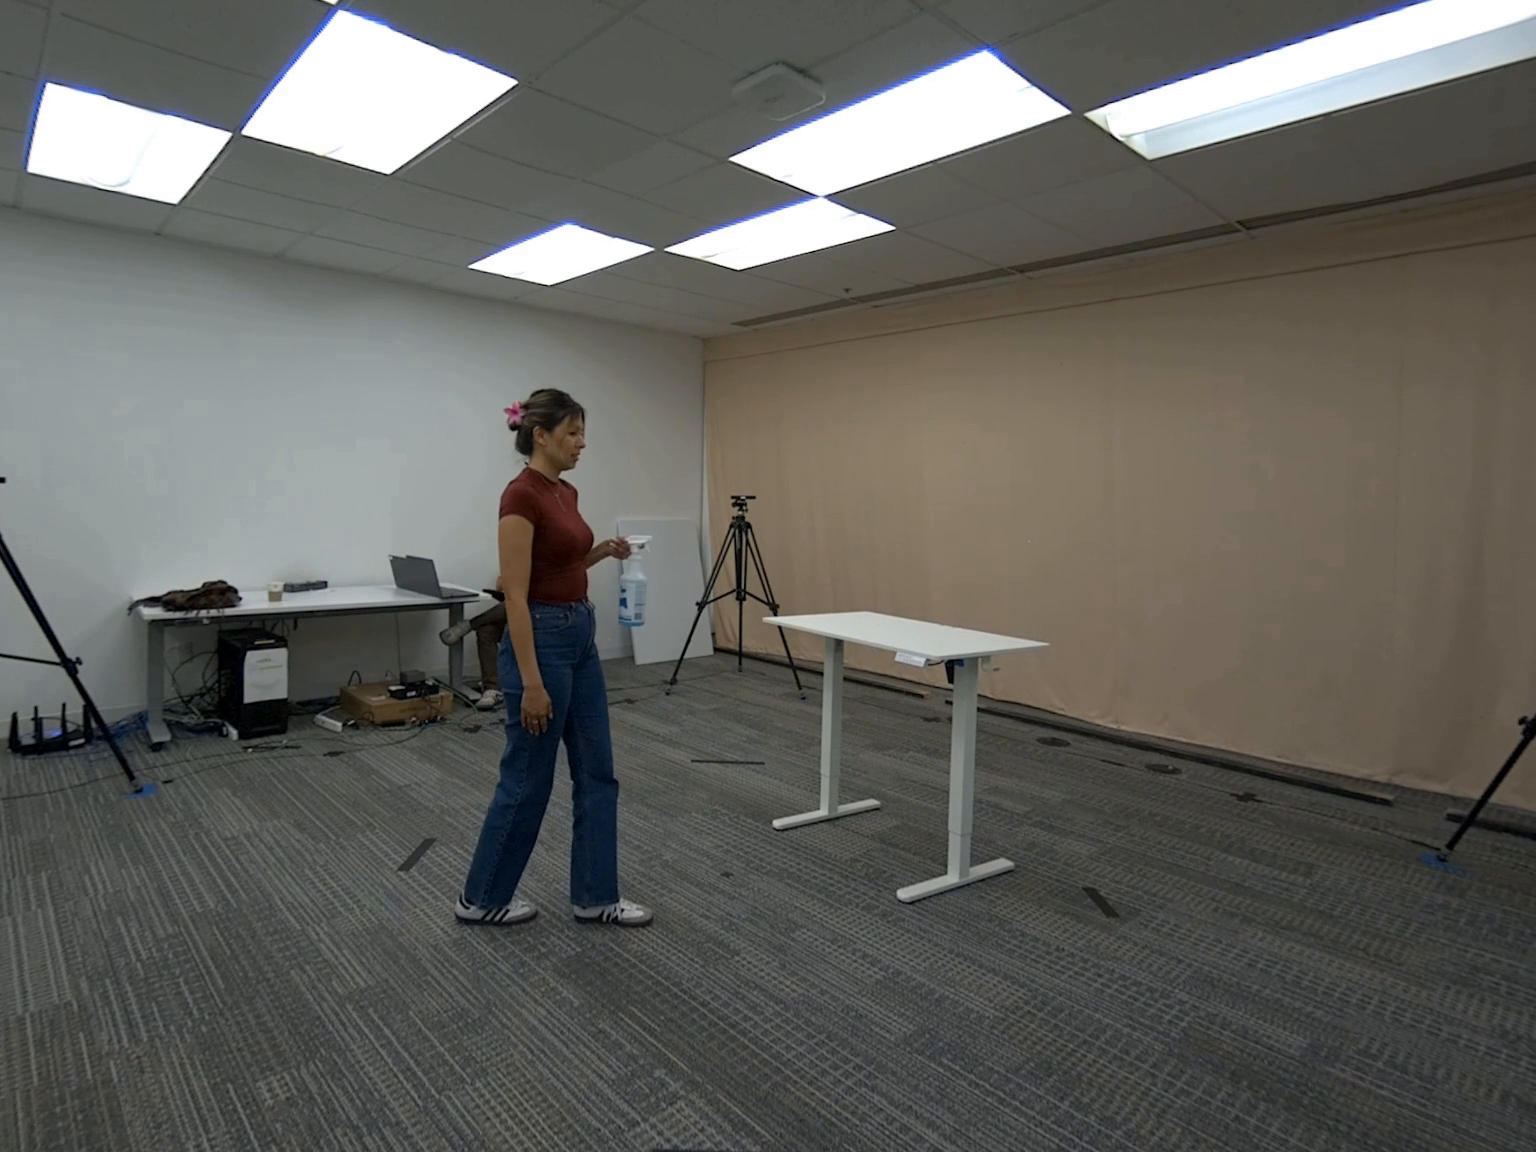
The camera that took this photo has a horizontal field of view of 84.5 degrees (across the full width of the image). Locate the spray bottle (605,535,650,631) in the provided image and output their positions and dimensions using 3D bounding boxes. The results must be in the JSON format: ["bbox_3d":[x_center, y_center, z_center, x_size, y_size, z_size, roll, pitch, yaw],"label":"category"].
[{"bbox_3d":[-0.459,0.019,2.754,0.092,0.297,0.085,6,3,27],"label":"spray bottle"}]
